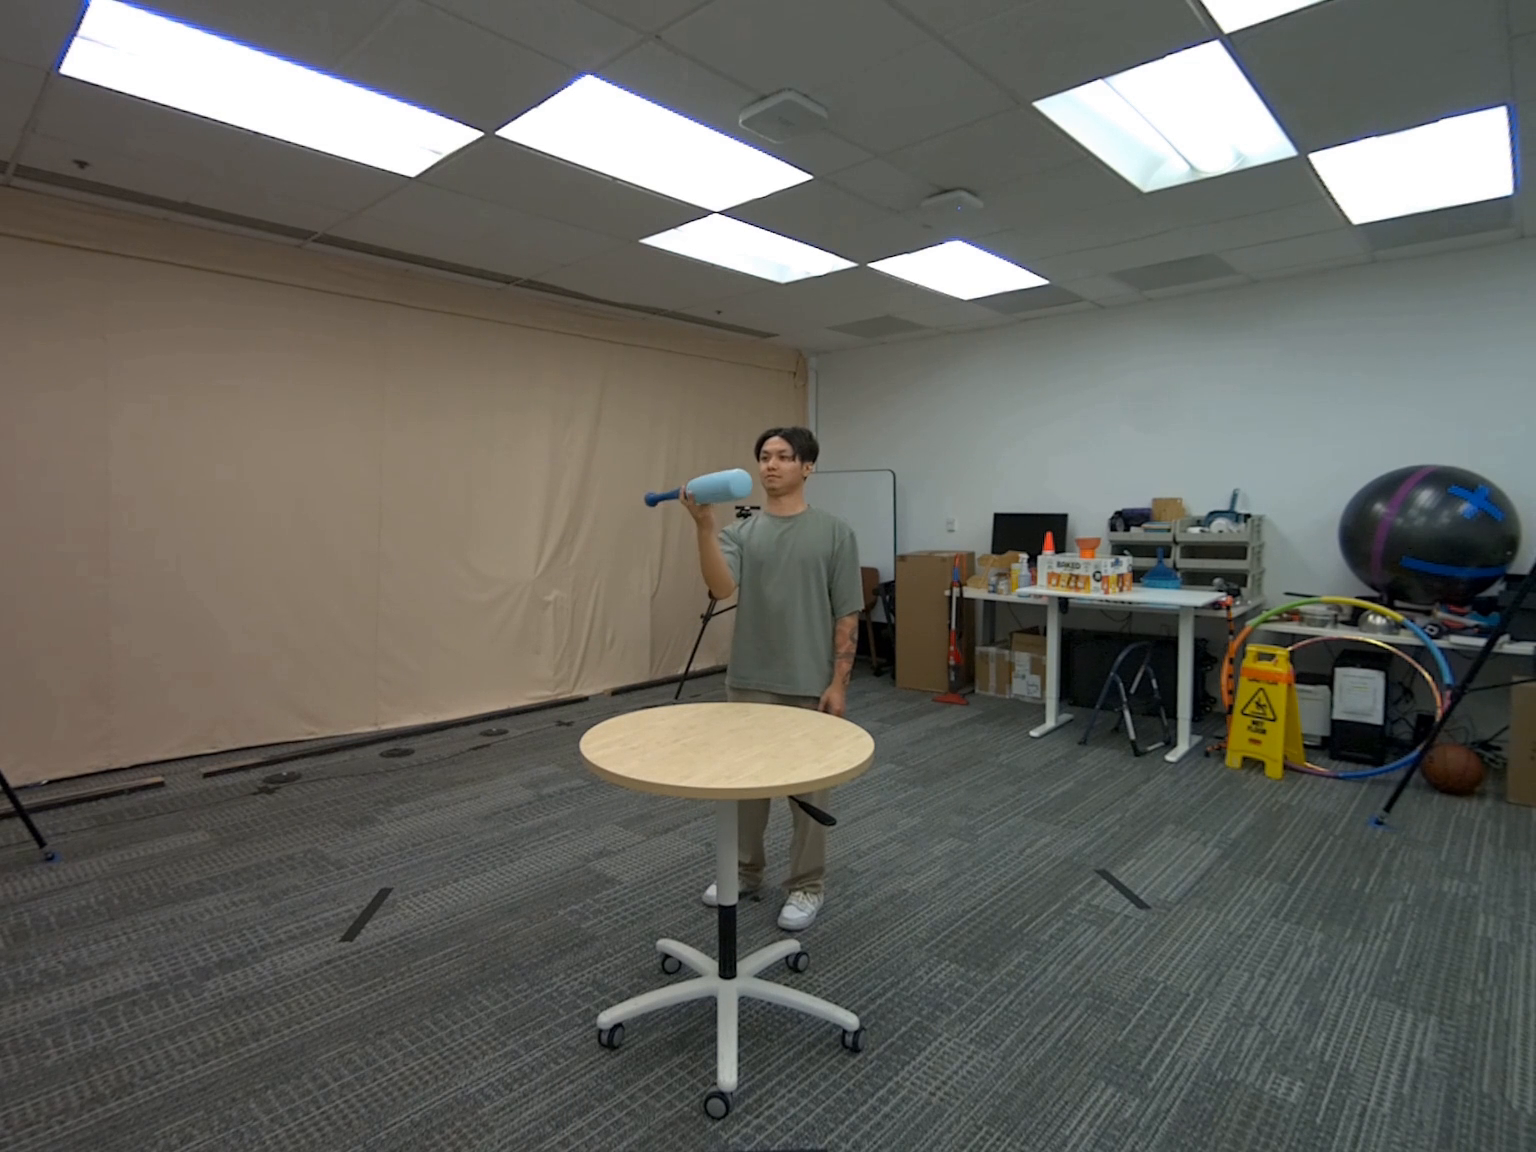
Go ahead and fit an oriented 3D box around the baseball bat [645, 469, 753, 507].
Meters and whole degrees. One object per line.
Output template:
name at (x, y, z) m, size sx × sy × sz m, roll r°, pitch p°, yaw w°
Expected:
baseball bat at (-0.228, -0.255, 2.553) m, size 0.086 × 0.089 × 0.558 m, roll -2°, pitch 0°, yaw -33°
